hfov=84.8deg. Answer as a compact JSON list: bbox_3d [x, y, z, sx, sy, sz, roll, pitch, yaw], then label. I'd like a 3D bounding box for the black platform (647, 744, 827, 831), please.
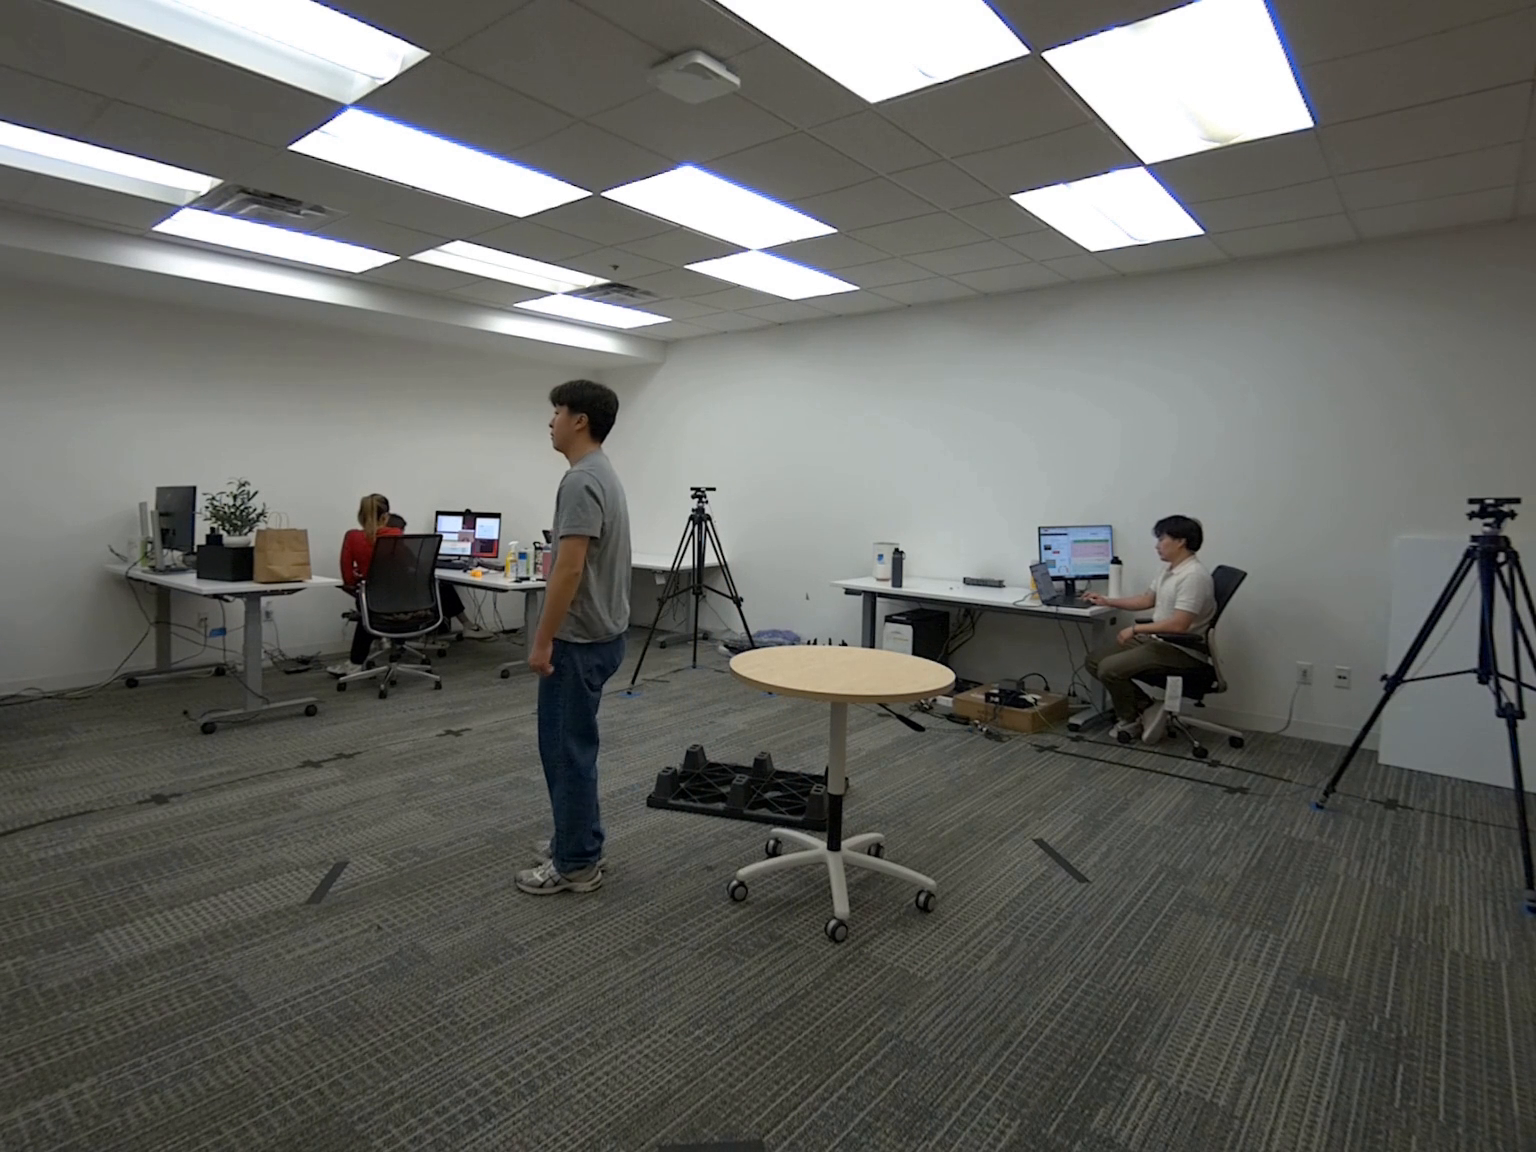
[{"bbox_3d":[-0.090,0.930,3.860,0.820,0.143,0.596,2,5,16],"label":"black platform"}]
